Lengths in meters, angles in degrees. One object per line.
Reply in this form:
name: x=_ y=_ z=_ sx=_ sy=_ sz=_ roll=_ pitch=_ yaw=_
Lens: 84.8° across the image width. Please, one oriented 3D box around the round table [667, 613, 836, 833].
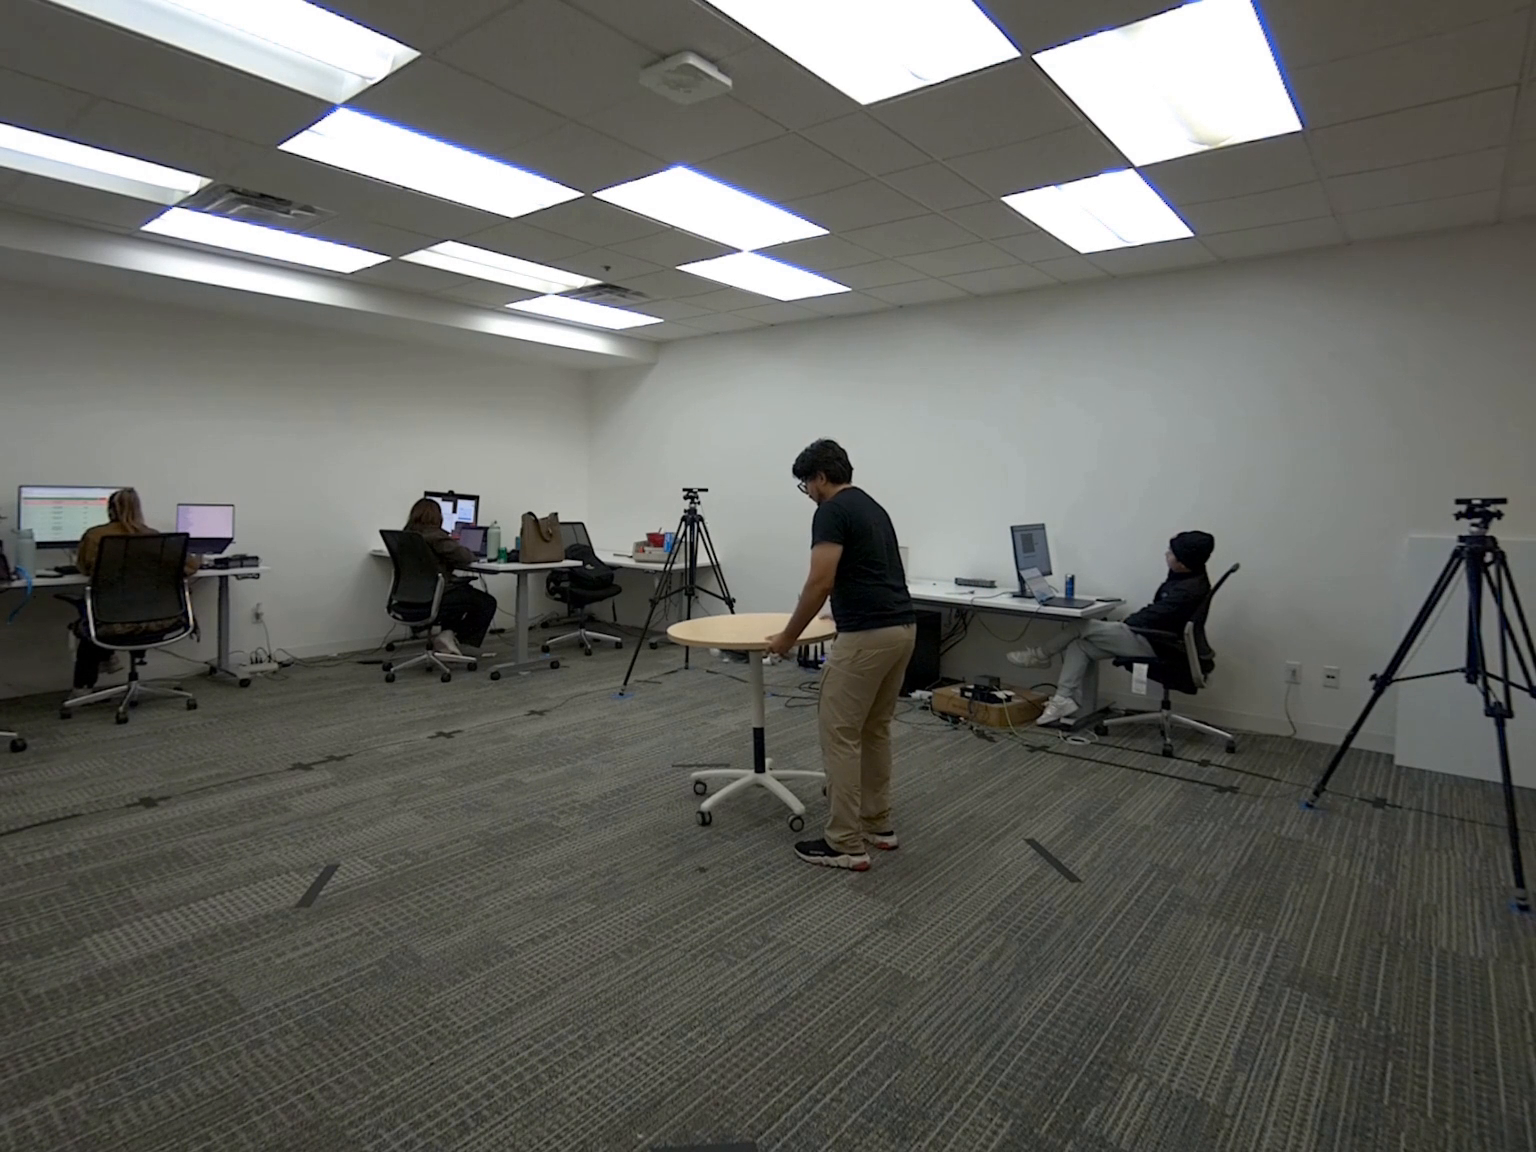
round table: x=-0.049 y=0.603 z=3.734 sx=0.784 sy=0.783 sz=0.789 roll=-2 pitch=5 yaw=-2
